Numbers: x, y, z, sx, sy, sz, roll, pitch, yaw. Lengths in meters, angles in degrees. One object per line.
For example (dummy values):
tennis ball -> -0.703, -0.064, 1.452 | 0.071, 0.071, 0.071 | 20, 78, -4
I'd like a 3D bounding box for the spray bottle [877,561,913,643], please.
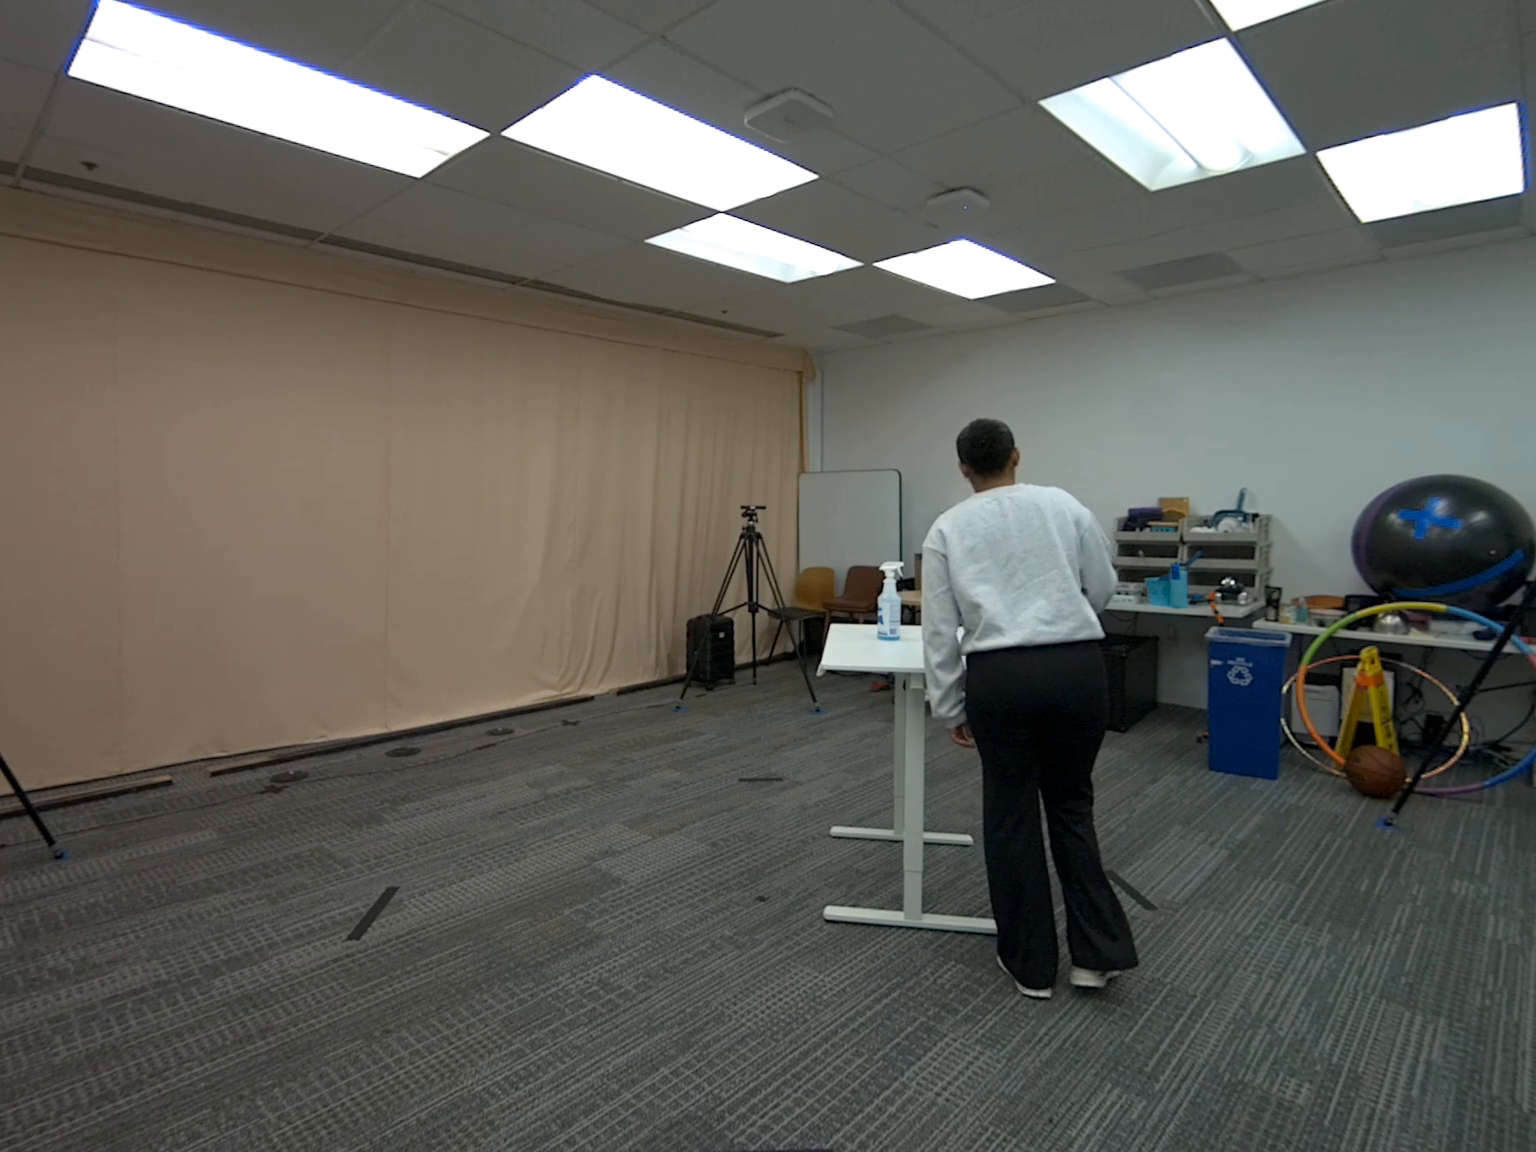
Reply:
spray bottle -> 0.479, 0.093, 3.211 | 0.084, 0.297, 0.093 | -1, 3, -41
